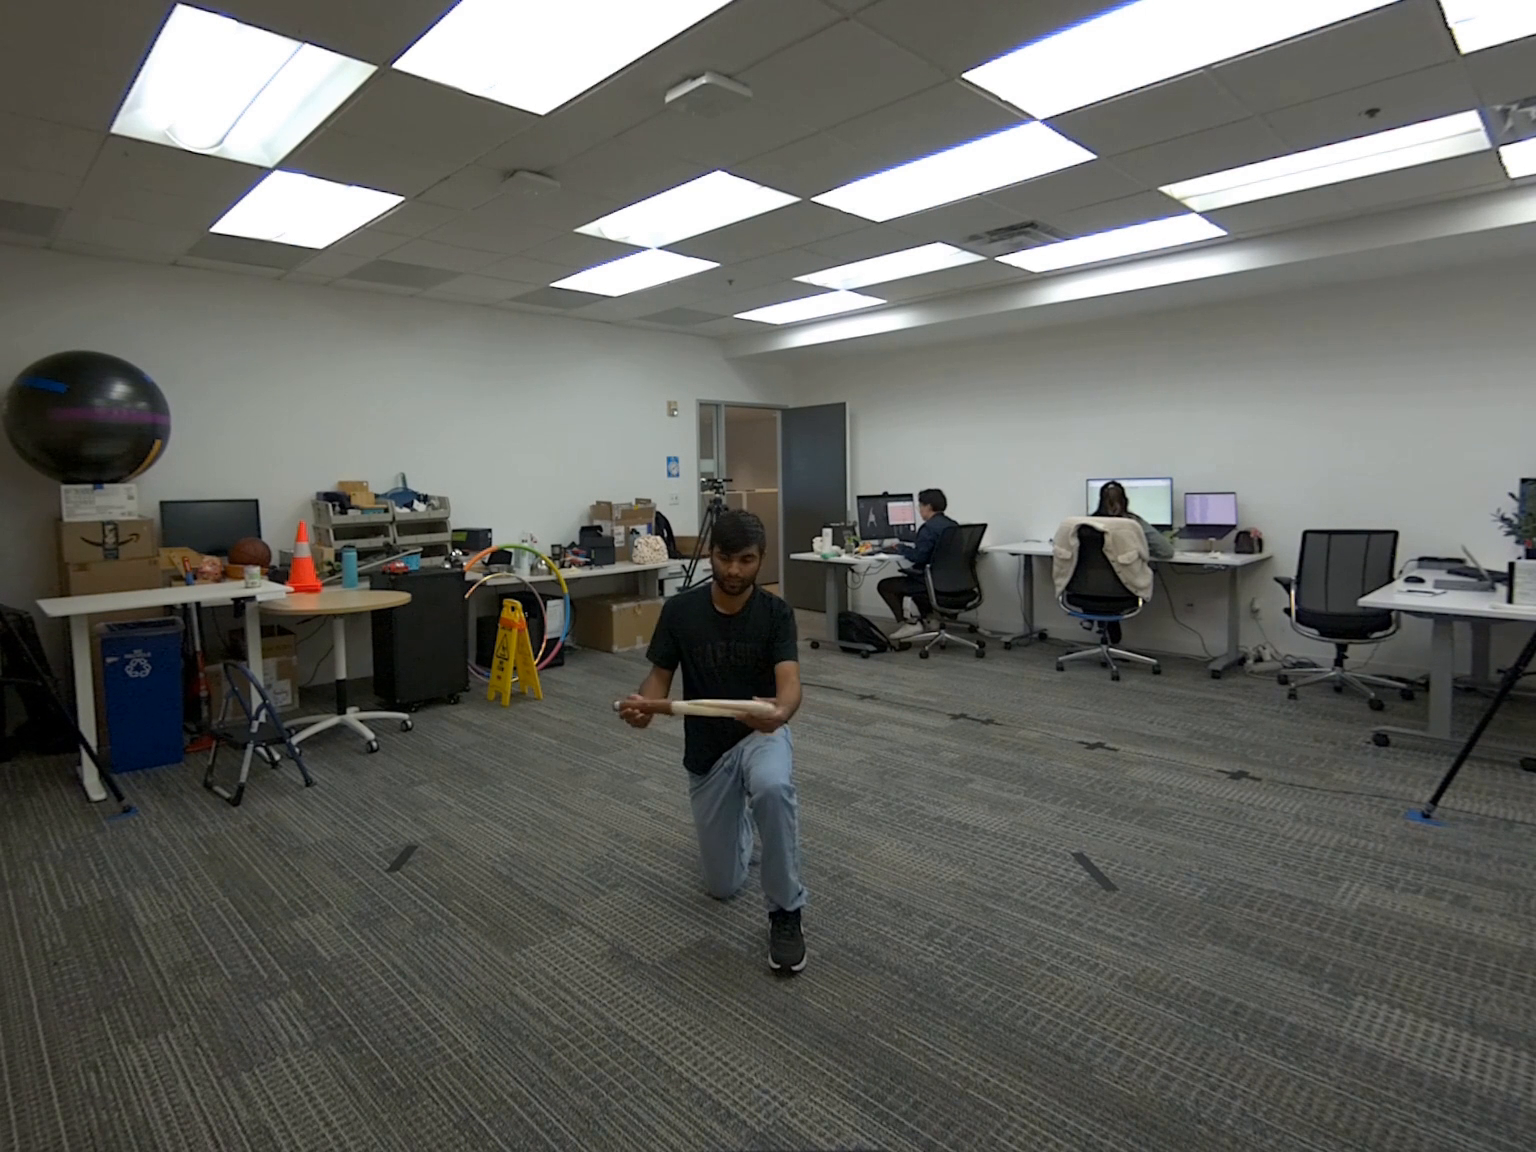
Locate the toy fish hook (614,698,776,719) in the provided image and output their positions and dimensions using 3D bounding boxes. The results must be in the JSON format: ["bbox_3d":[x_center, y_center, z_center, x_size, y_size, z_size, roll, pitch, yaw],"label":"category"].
[{"bbox_3d":[-0.220,0.353,2.336,0.516,0.049,0.217,-3,-19,20],"label":"toy fish hook"}]
